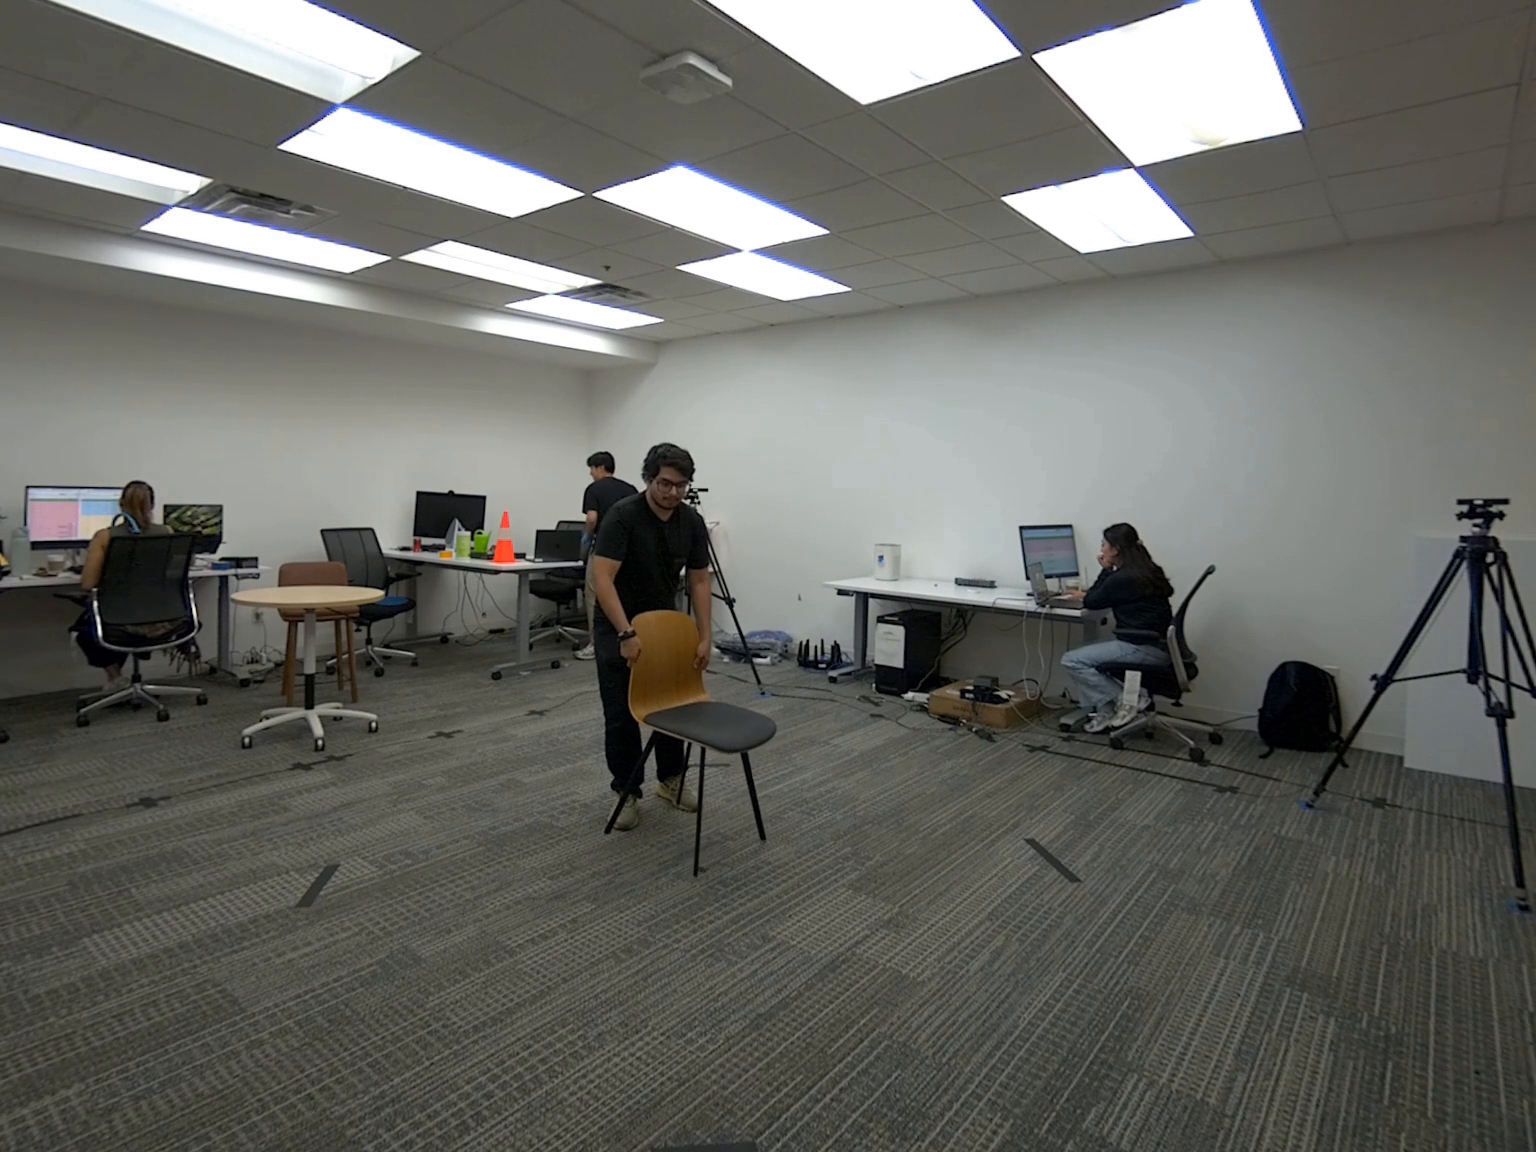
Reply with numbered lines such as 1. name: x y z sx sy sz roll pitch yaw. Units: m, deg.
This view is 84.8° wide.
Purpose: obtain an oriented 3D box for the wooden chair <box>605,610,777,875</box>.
1. wooden chair: -0.272 0.595 3.277 0.540 0.876 0.464 4 2 35
